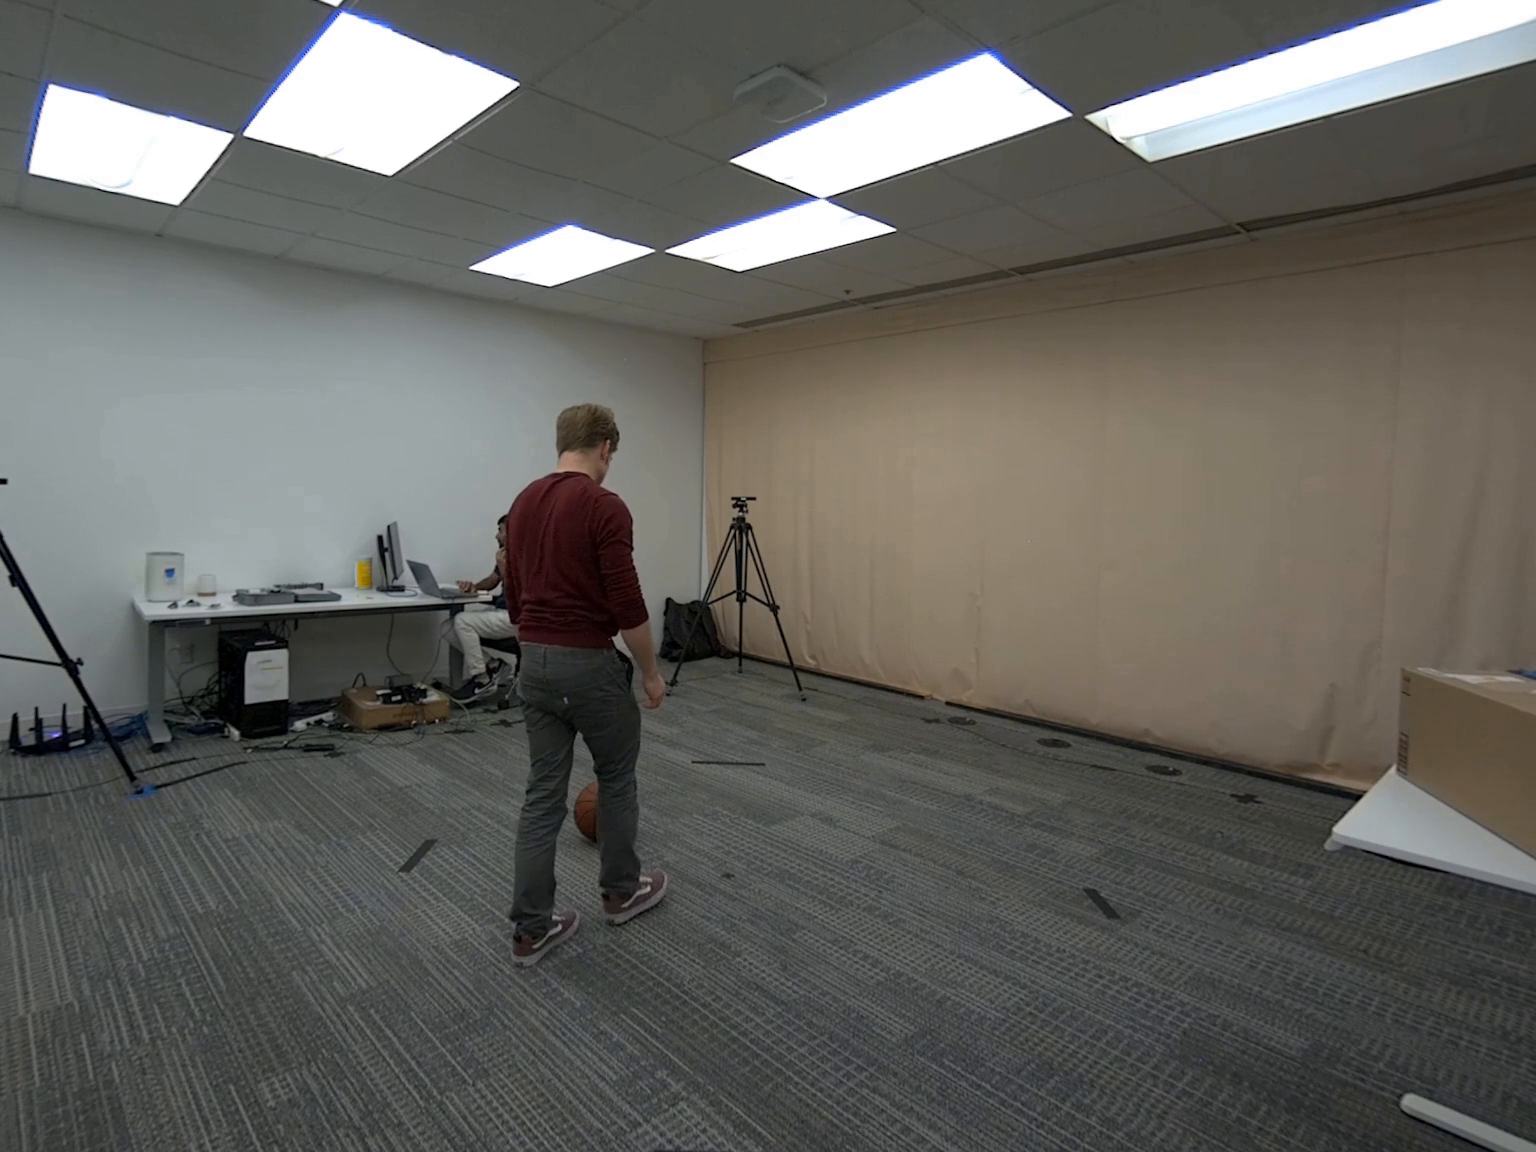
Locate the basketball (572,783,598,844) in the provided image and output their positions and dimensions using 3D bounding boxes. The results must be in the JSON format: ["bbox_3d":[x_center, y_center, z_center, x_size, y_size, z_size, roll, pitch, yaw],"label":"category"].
[{"bbox_3d":[-0.673,0.948,3.402,0.236,0.235,0.237,1,4,-1],"label":"basketball"}]
